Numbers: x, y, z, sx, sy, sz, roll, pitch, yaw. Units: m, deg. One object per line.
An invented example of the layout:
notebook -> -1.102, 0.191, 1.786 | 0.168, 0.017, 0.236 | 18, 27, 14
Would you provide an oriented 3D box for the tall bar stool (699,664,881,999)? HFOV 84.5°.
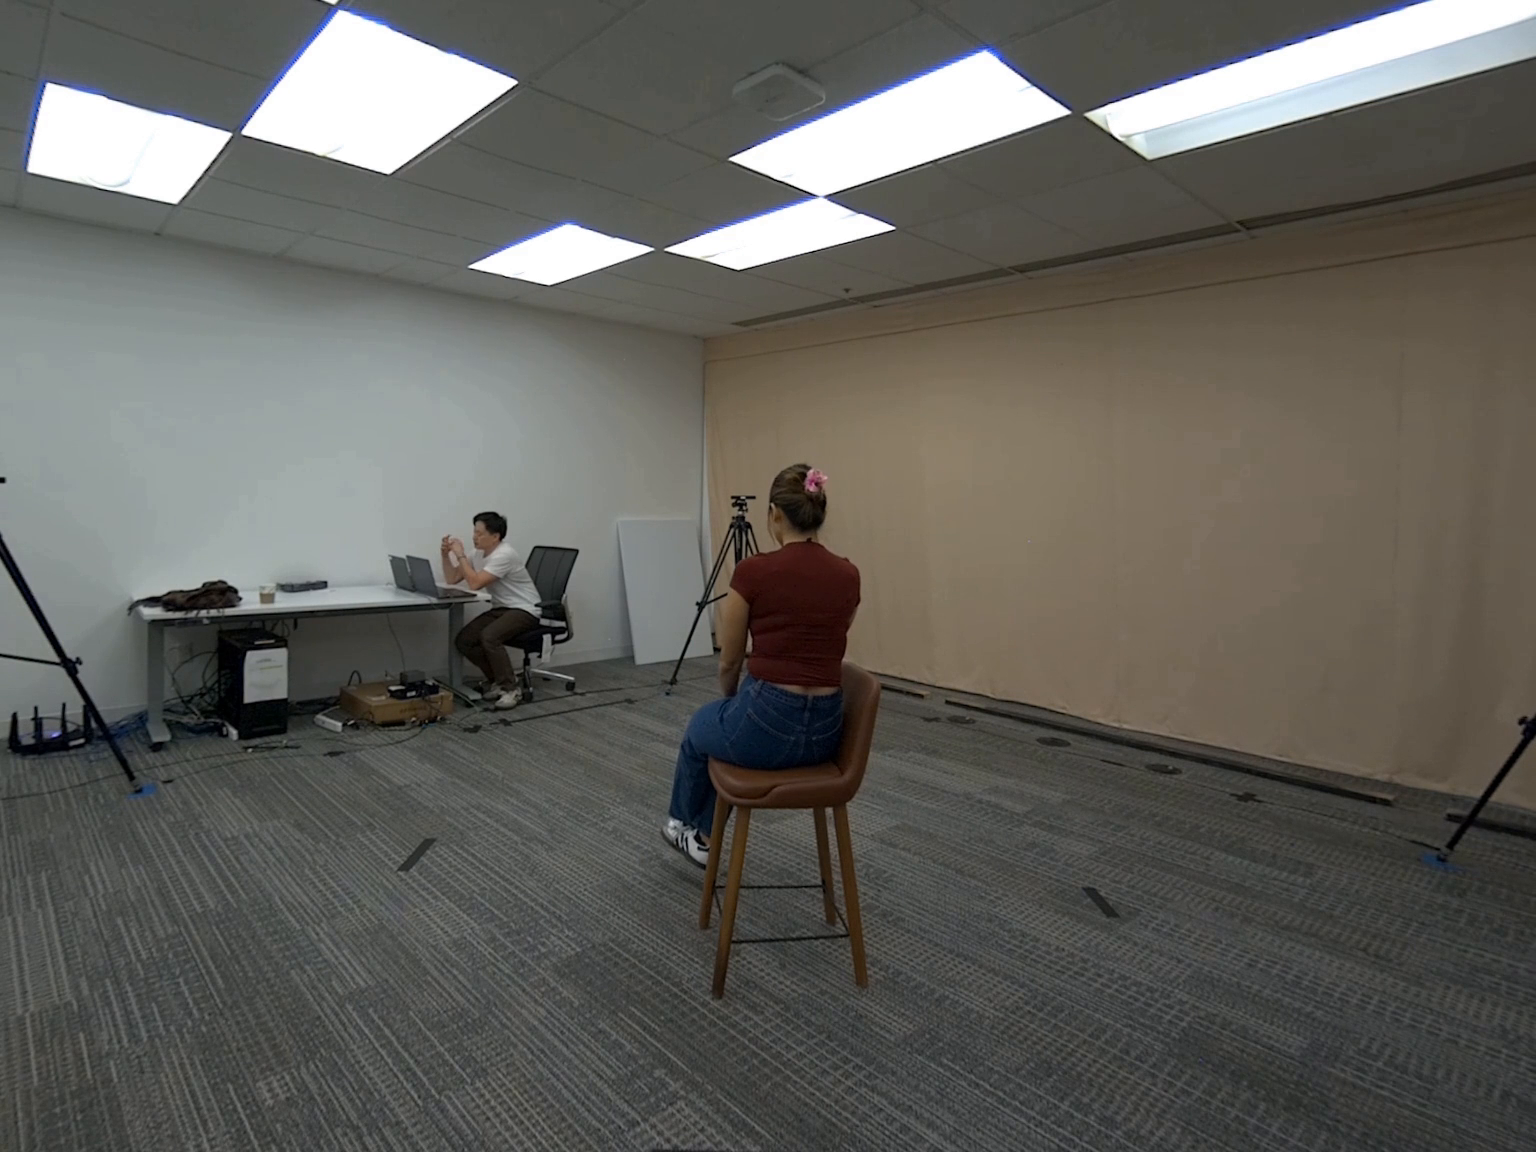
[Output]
tall bar stool -> 0.051, 0.729, 2.529 | 0.464, 0.887, 0.462 | 2, 4, -11
